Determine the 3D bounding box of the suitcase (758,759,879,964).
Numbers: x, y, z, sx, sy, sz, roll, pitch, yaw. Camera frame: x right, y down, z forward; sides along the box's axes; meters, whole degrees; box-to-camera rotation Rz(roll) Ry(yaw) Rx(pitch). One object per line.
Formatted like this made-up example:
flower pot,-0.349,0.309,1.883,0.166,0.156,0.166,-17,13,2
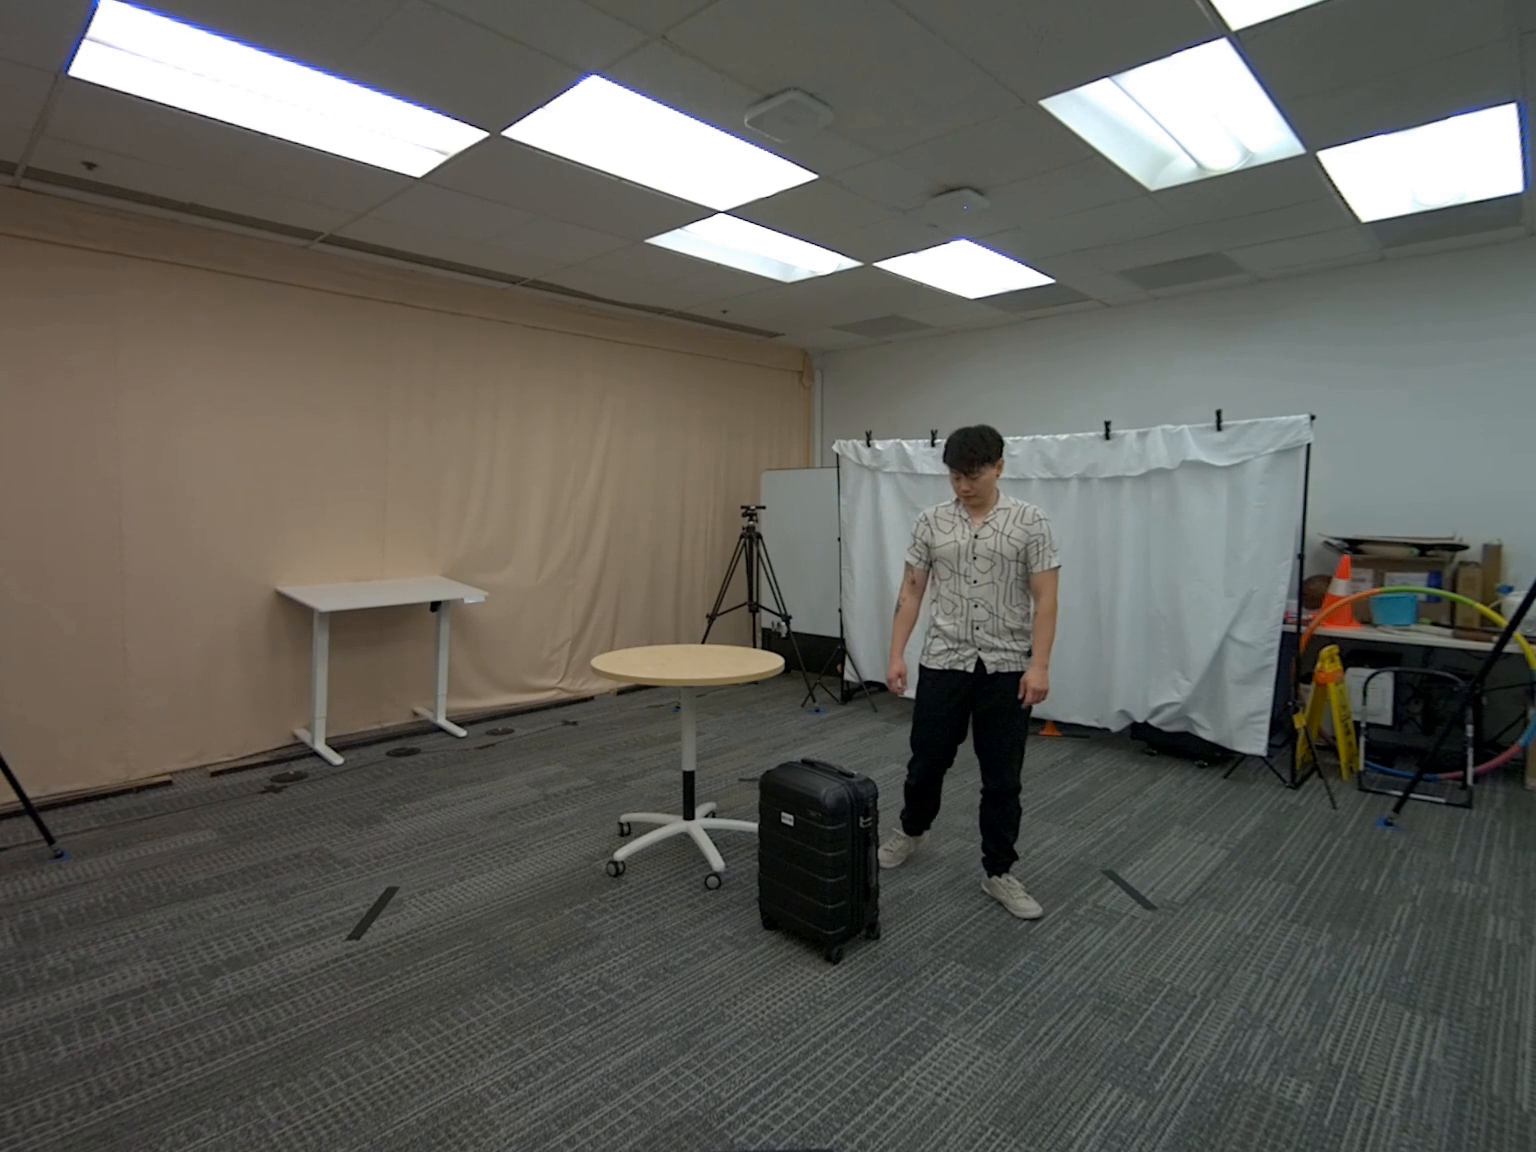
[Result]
suitcase,0.169,0.889,2.715,0.241,0.548,0.388,-5,6,-42
